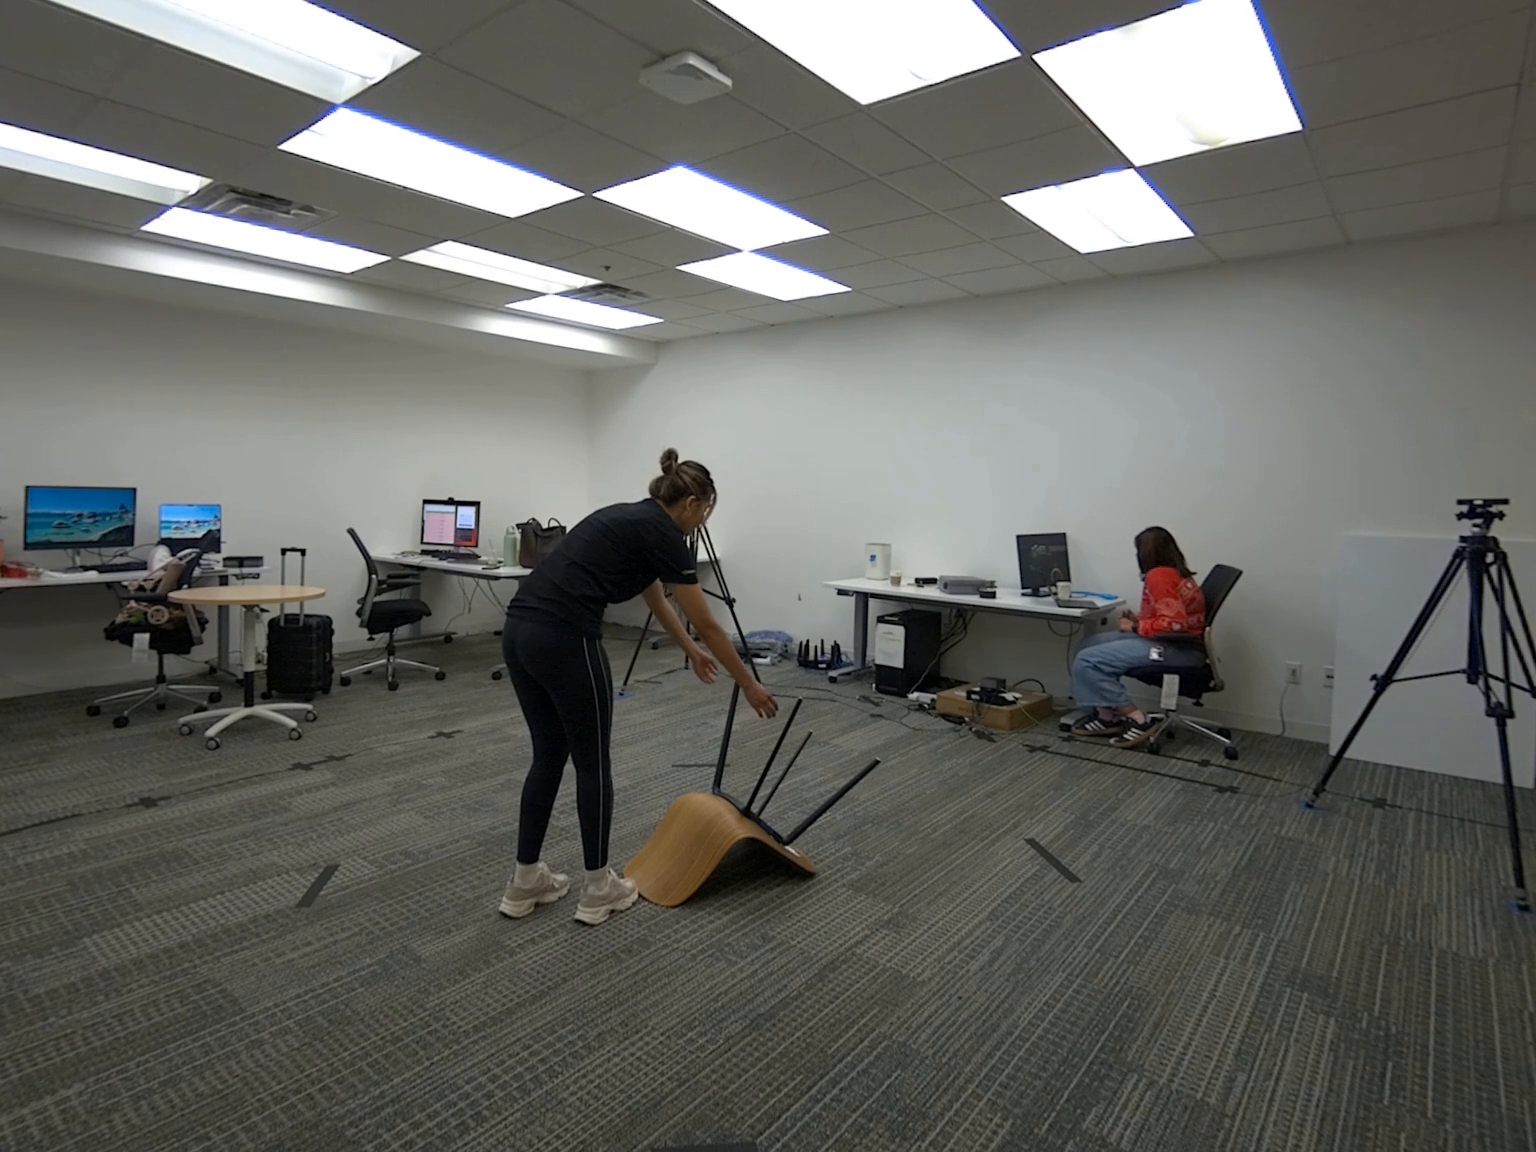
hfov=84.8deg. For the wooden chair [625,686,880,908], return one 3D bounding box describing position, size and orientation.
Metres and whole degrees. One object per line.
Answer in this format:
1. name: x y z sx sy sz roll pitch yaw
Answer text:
1. wooden chair: -0.073 0.895 3.163 0.507 0.879 0.492 44 -19 -25
